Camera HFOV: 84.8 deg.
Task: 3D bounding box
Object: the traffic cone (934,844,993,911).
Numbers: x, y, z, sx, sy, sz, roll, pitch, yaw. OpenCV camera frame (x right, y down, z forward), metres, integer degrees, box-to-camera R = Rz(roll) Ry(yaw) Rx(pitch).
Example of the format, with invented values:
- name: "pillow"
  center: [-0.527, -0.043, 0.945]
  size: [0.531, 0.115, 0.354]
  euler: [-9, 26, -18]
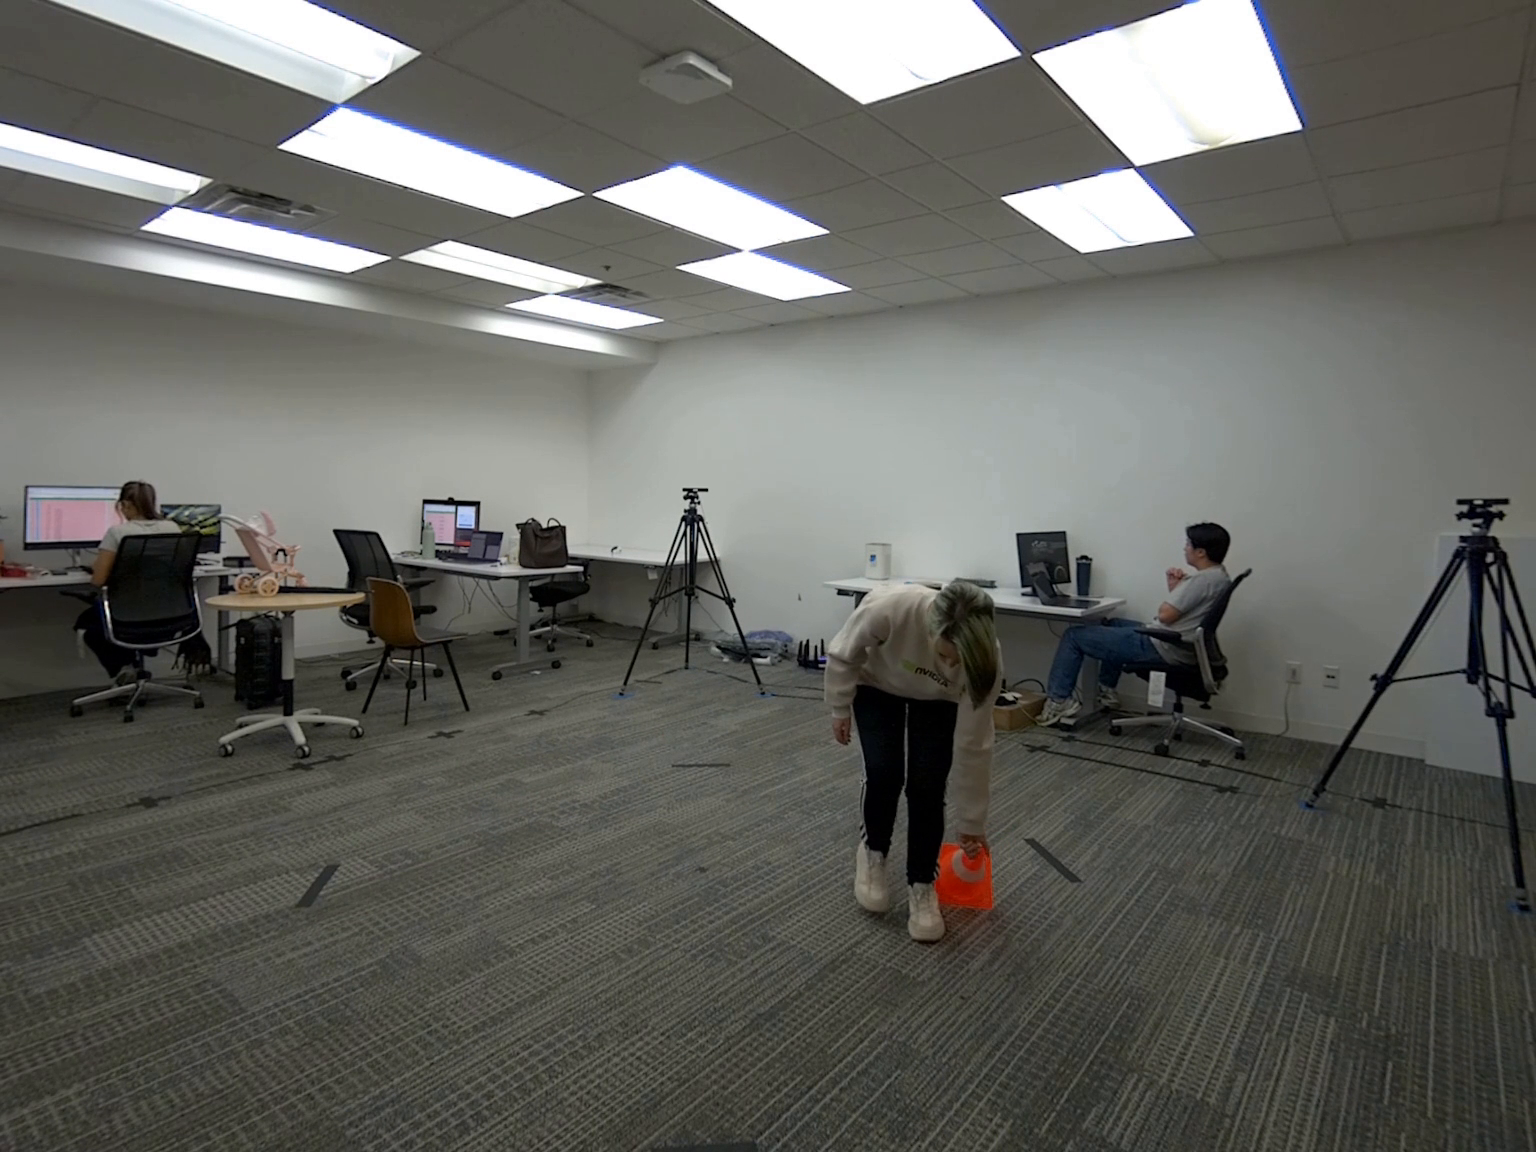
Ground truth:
- name: "traffic cone"
  center: [0.657, 0.940, 2.755]
  size: [0.207, 0.207, 0.373]
  euler: [6, -29, 7]
